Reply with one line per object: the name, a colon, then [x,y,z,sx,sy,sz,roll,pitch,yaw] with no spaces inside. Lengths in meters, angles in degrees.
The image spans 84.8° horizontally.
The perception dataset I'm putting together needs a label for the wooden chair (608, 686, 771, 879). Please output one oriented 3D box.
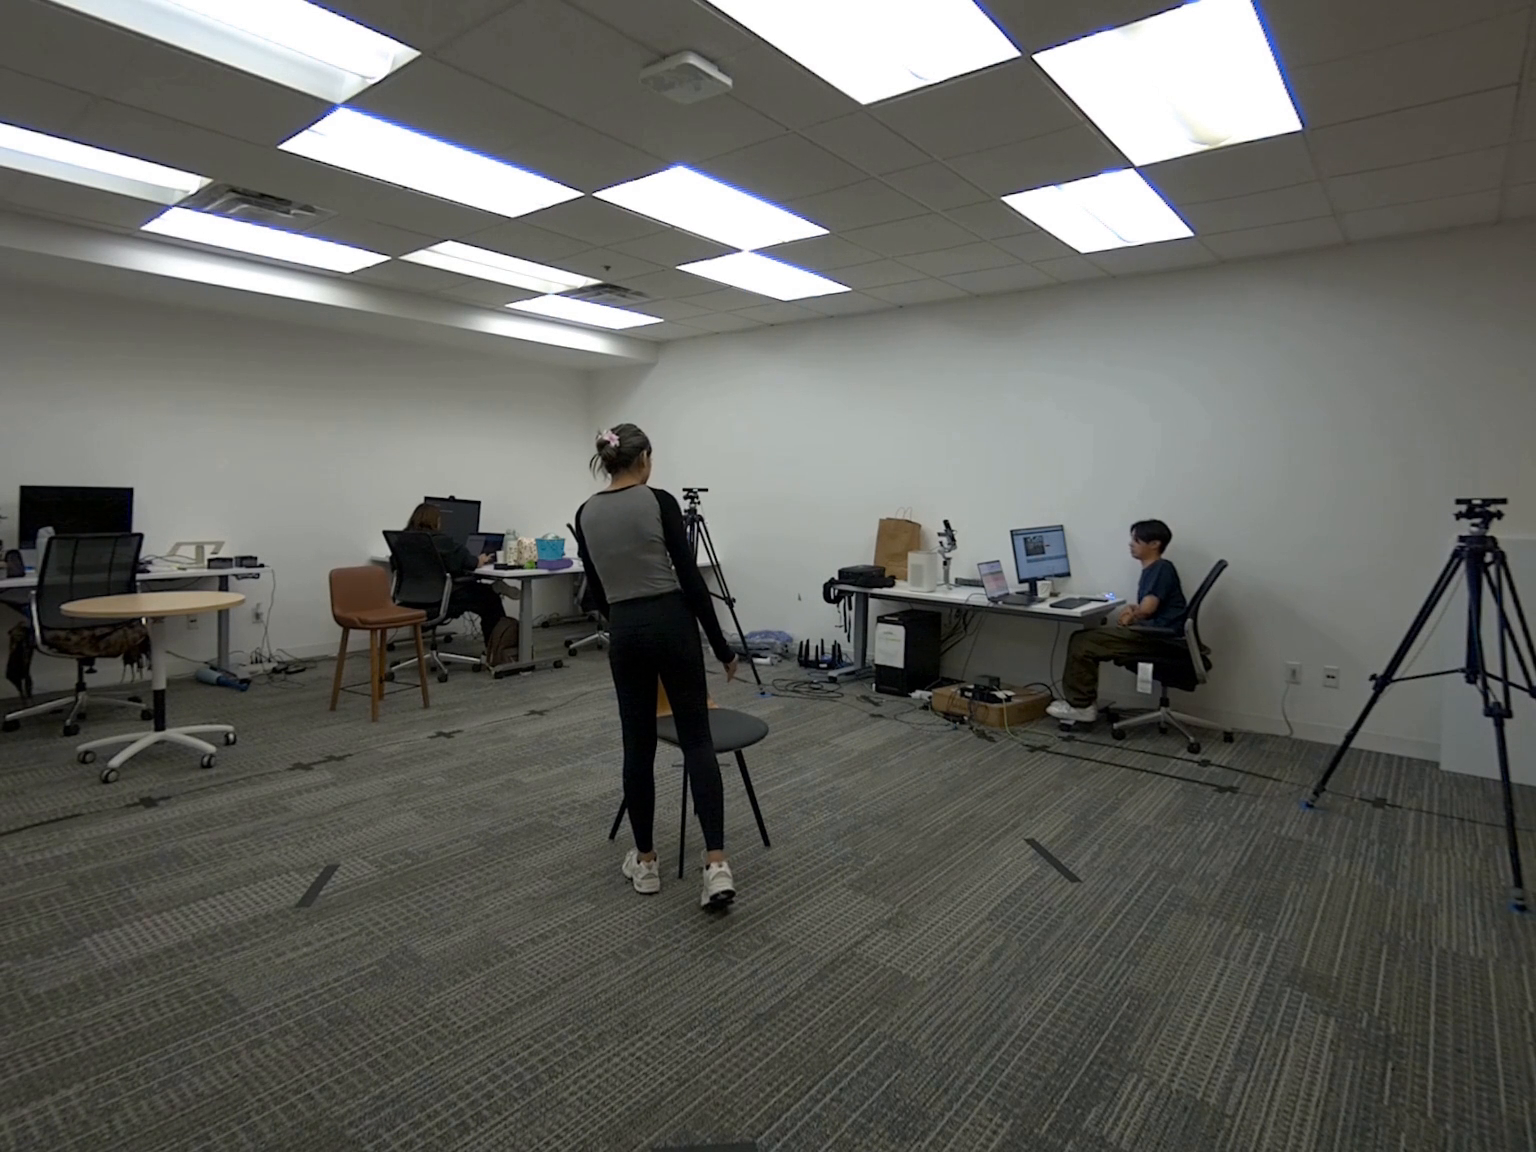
wooden chair: [-0.302,0.619,3.310,0.463,0.878,0.539,-1,-1,-43]
